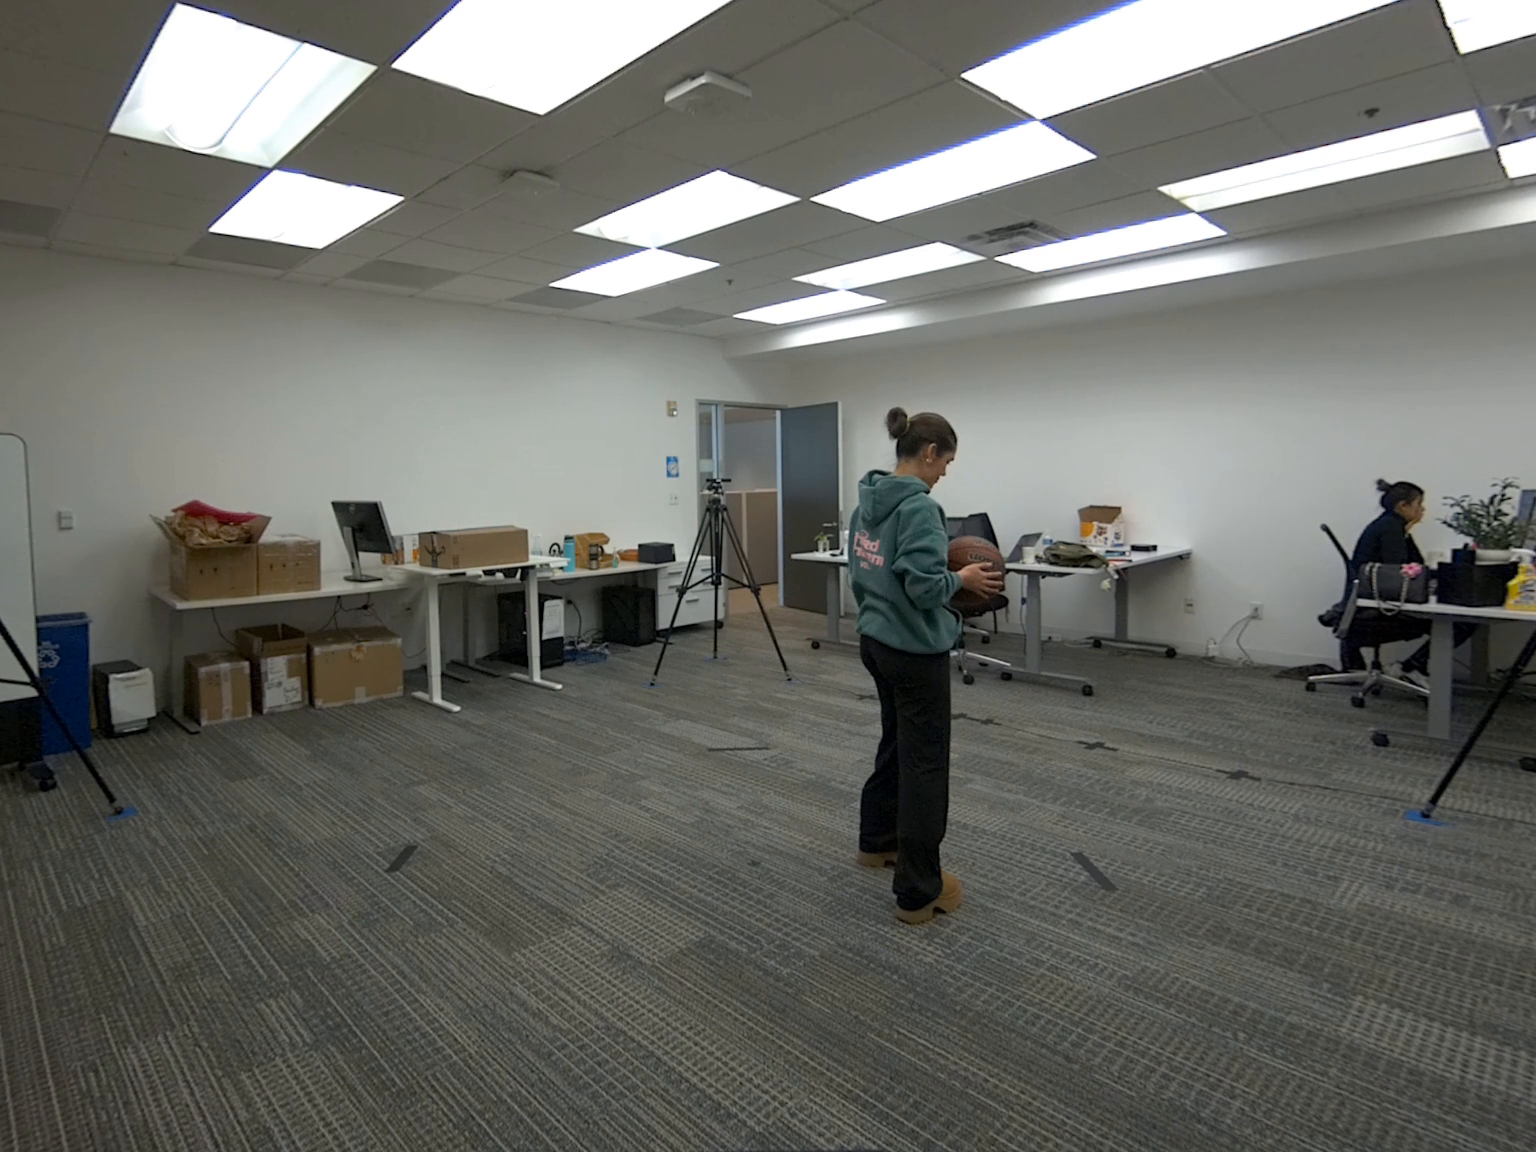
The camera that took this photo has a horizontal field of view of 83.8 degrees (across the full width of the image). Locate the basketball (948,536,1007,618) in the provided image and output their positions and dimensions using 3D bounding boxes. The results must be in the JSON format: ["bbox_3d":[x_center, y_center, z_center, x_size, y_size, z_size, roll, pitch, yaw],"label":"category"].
[{"bbox_3d":[0.688,-0.016,2.923,0.236,0.235,0.237,-1,5,-2],"label":"basketball"}]
